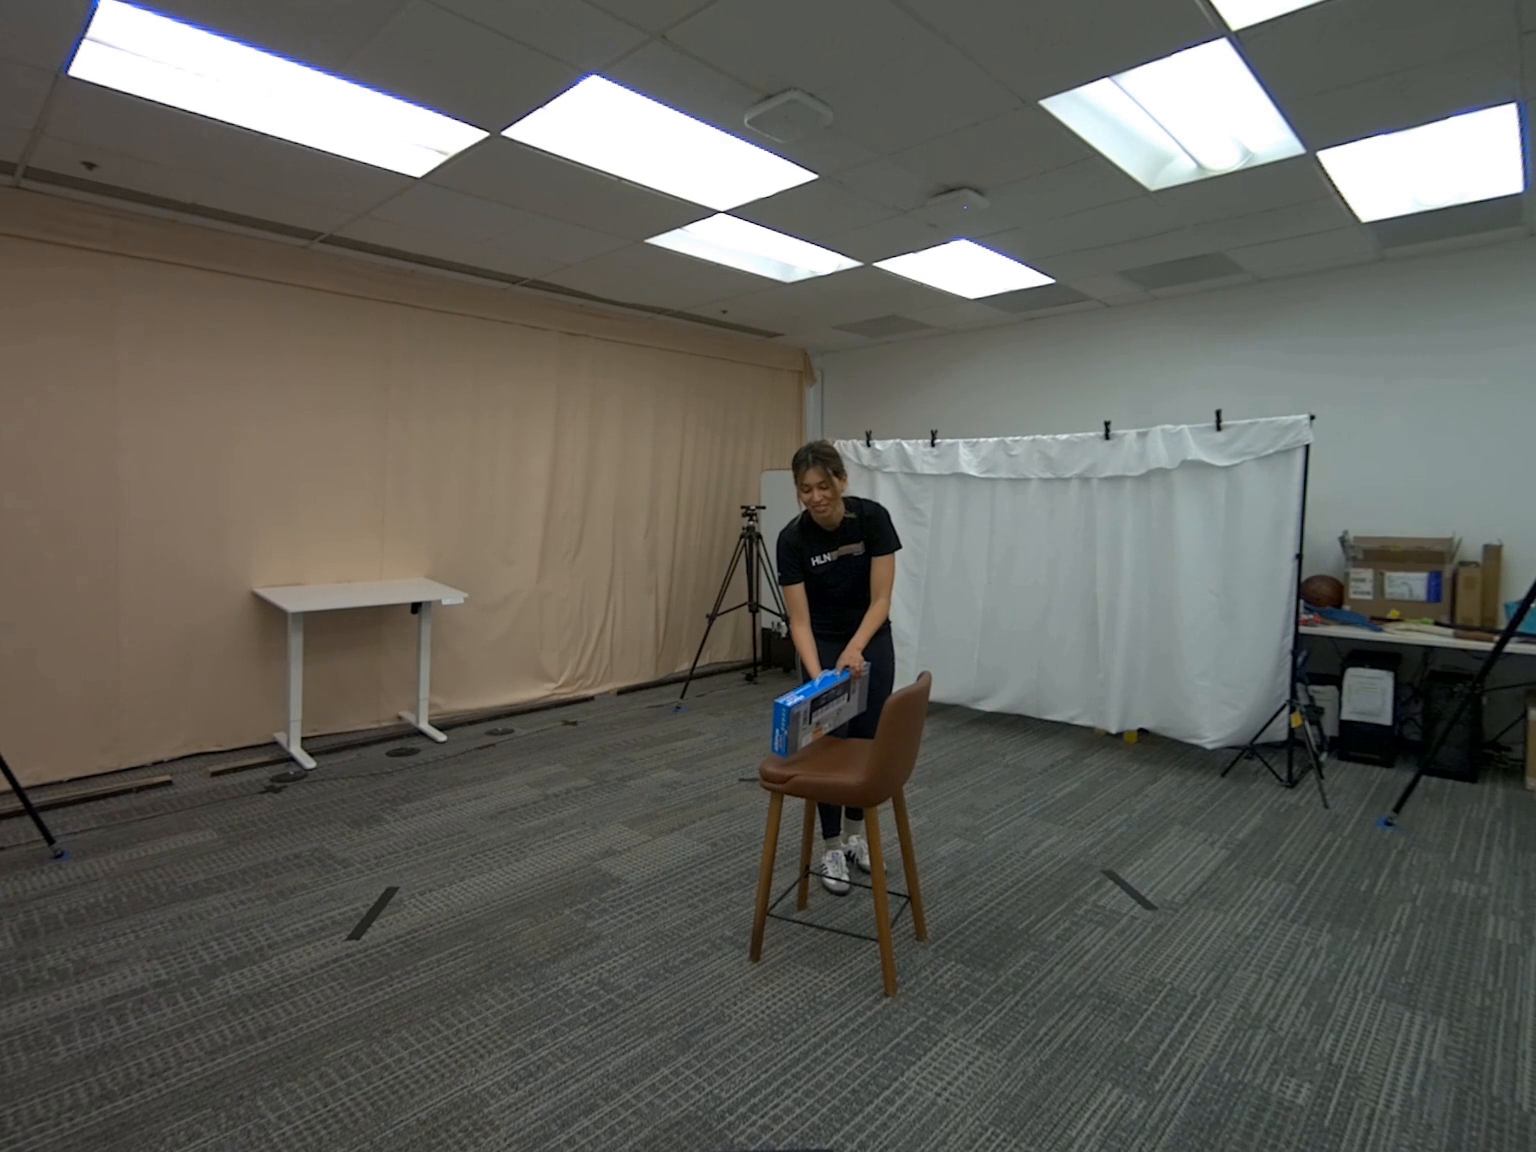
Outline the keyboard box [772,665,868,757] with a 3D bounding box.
[{"bbox_3d":[0.171,0.408,2.647,0.061,0.174,0.426,17,24,35],"label":"keyboard box"}]
